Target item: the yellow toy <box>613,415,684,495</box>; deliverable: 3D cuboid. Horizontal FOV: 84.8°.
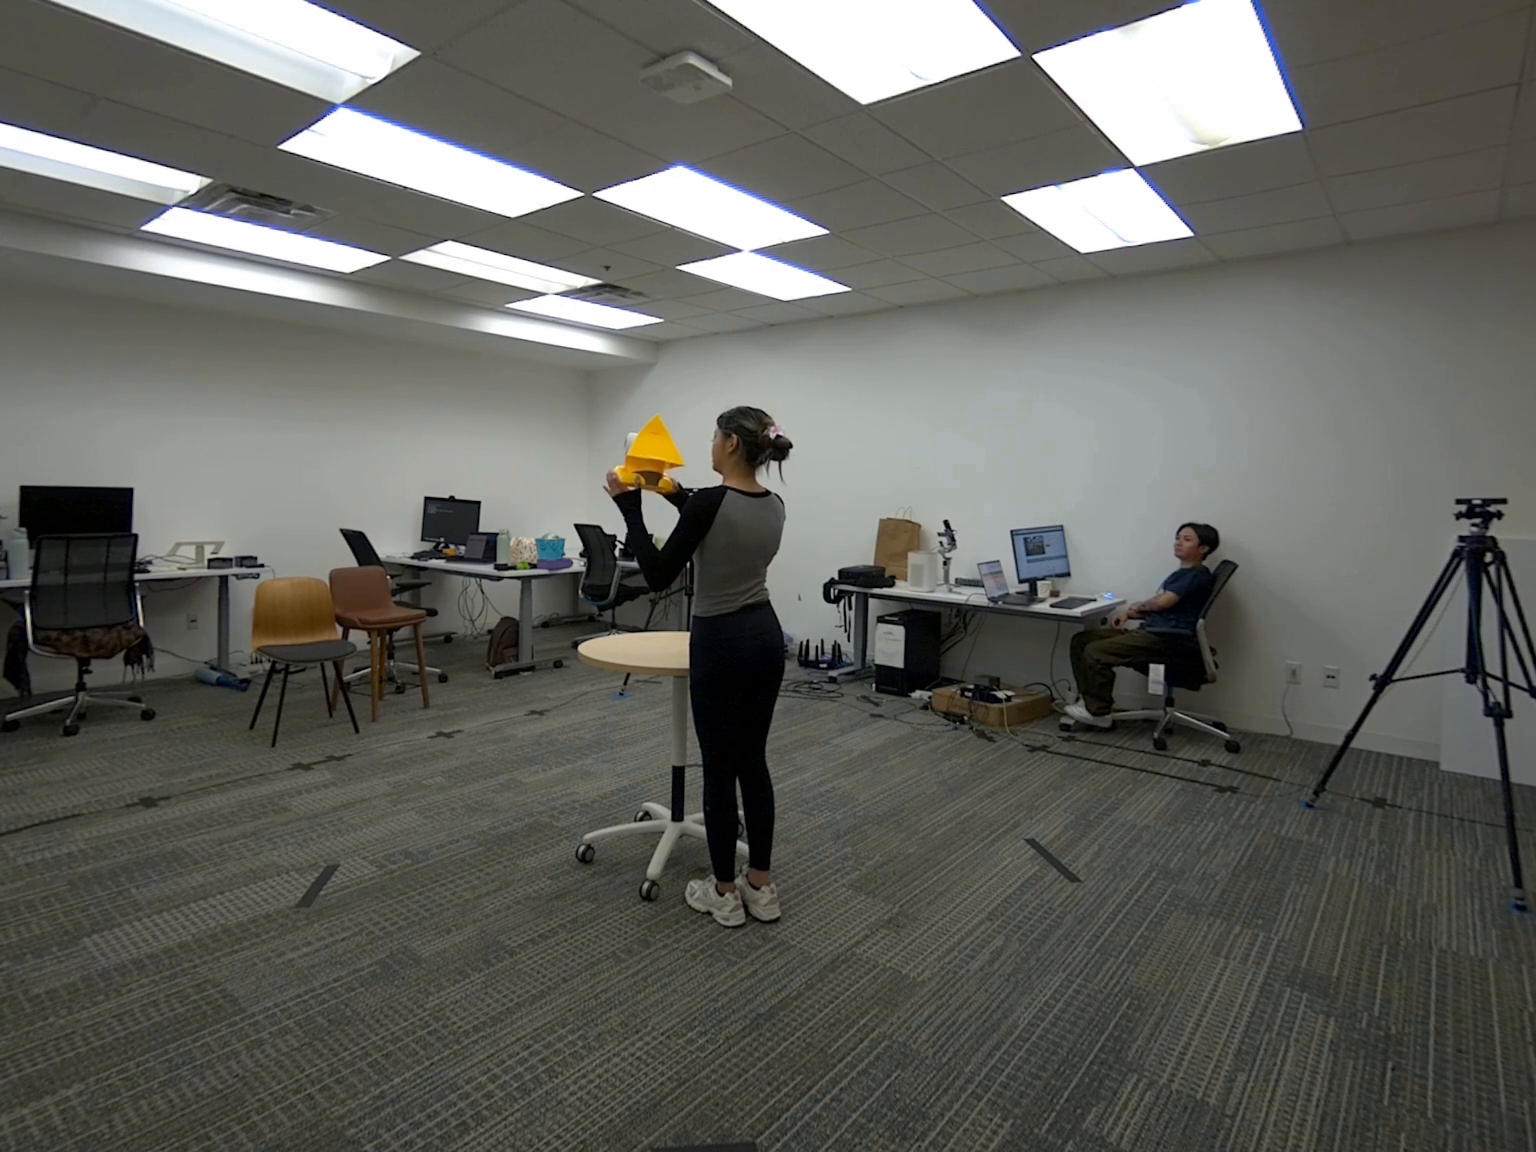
[{"bbox_3d":[-0.401,-0.404,2.749,0.198,0.231,0.199,8,-4,-33],"label":"yellow toy"}]
